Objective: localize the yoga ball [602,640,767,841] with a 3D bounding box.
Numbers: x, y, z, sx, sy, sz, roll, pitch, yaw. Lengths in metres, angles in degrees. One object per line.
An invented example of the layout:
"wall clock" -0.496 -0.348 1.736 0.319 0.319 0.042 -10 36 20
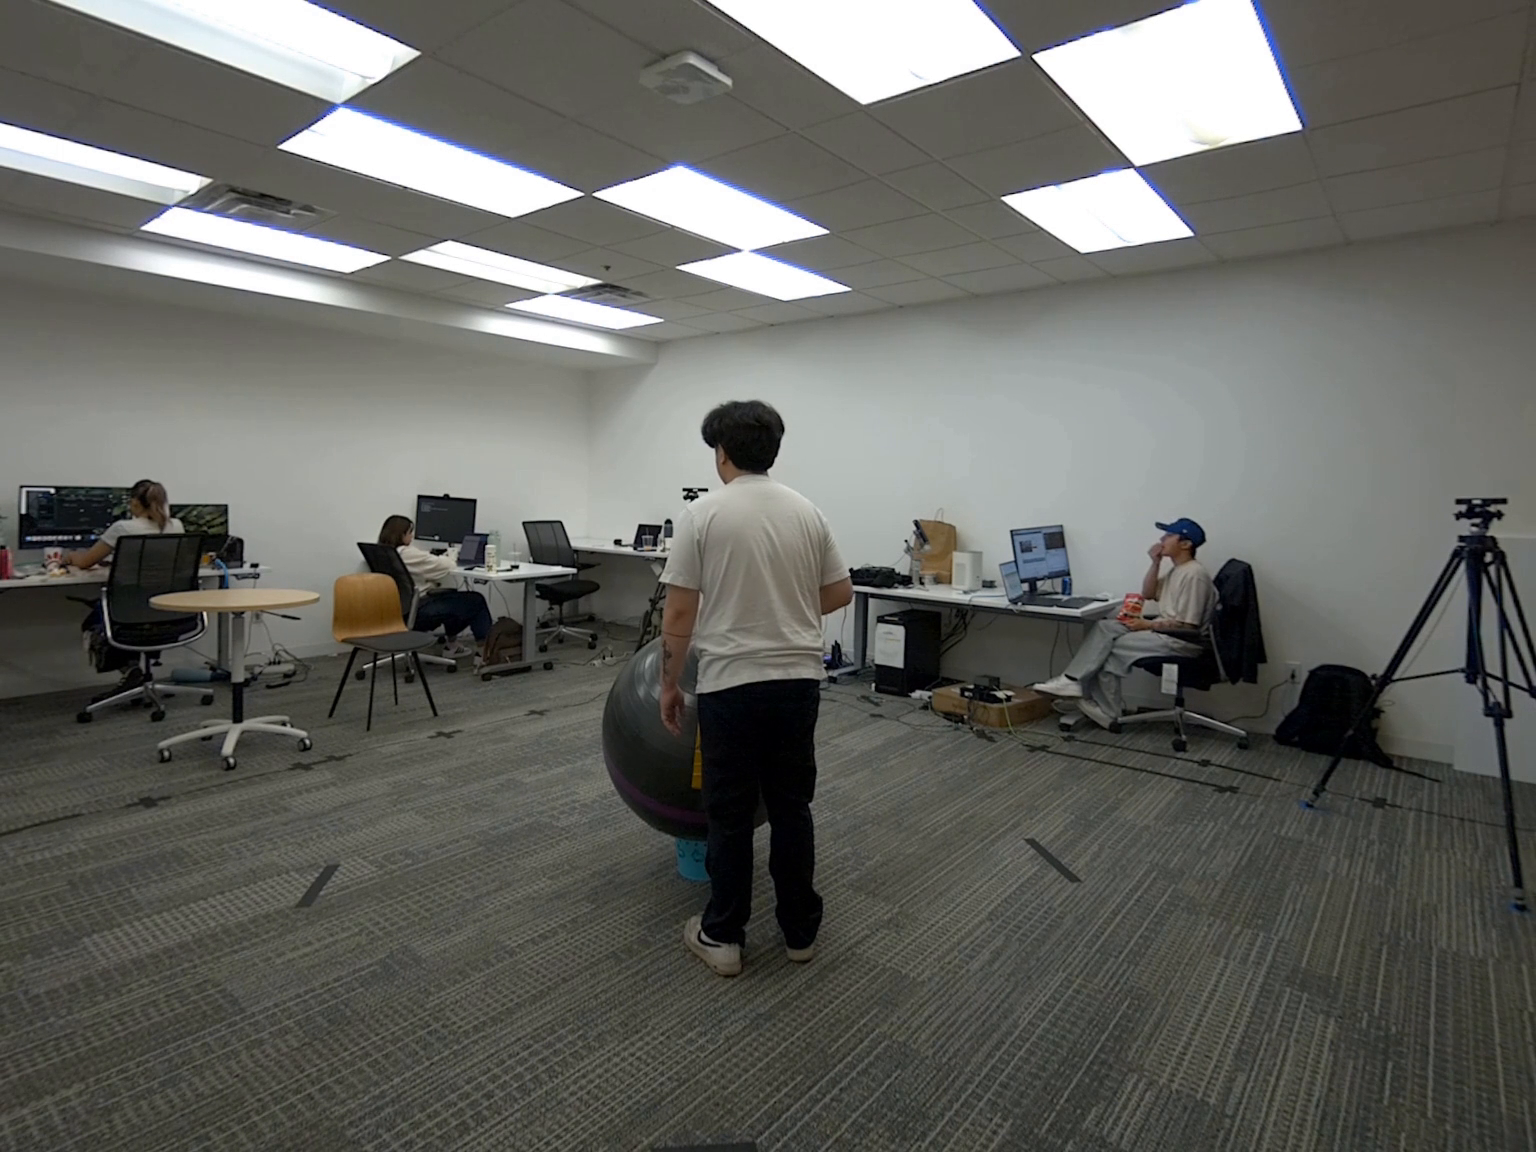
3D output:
"yoga ball" -0.229 0.562 3.089 0.757 0.756 0.761 1 4 -2
